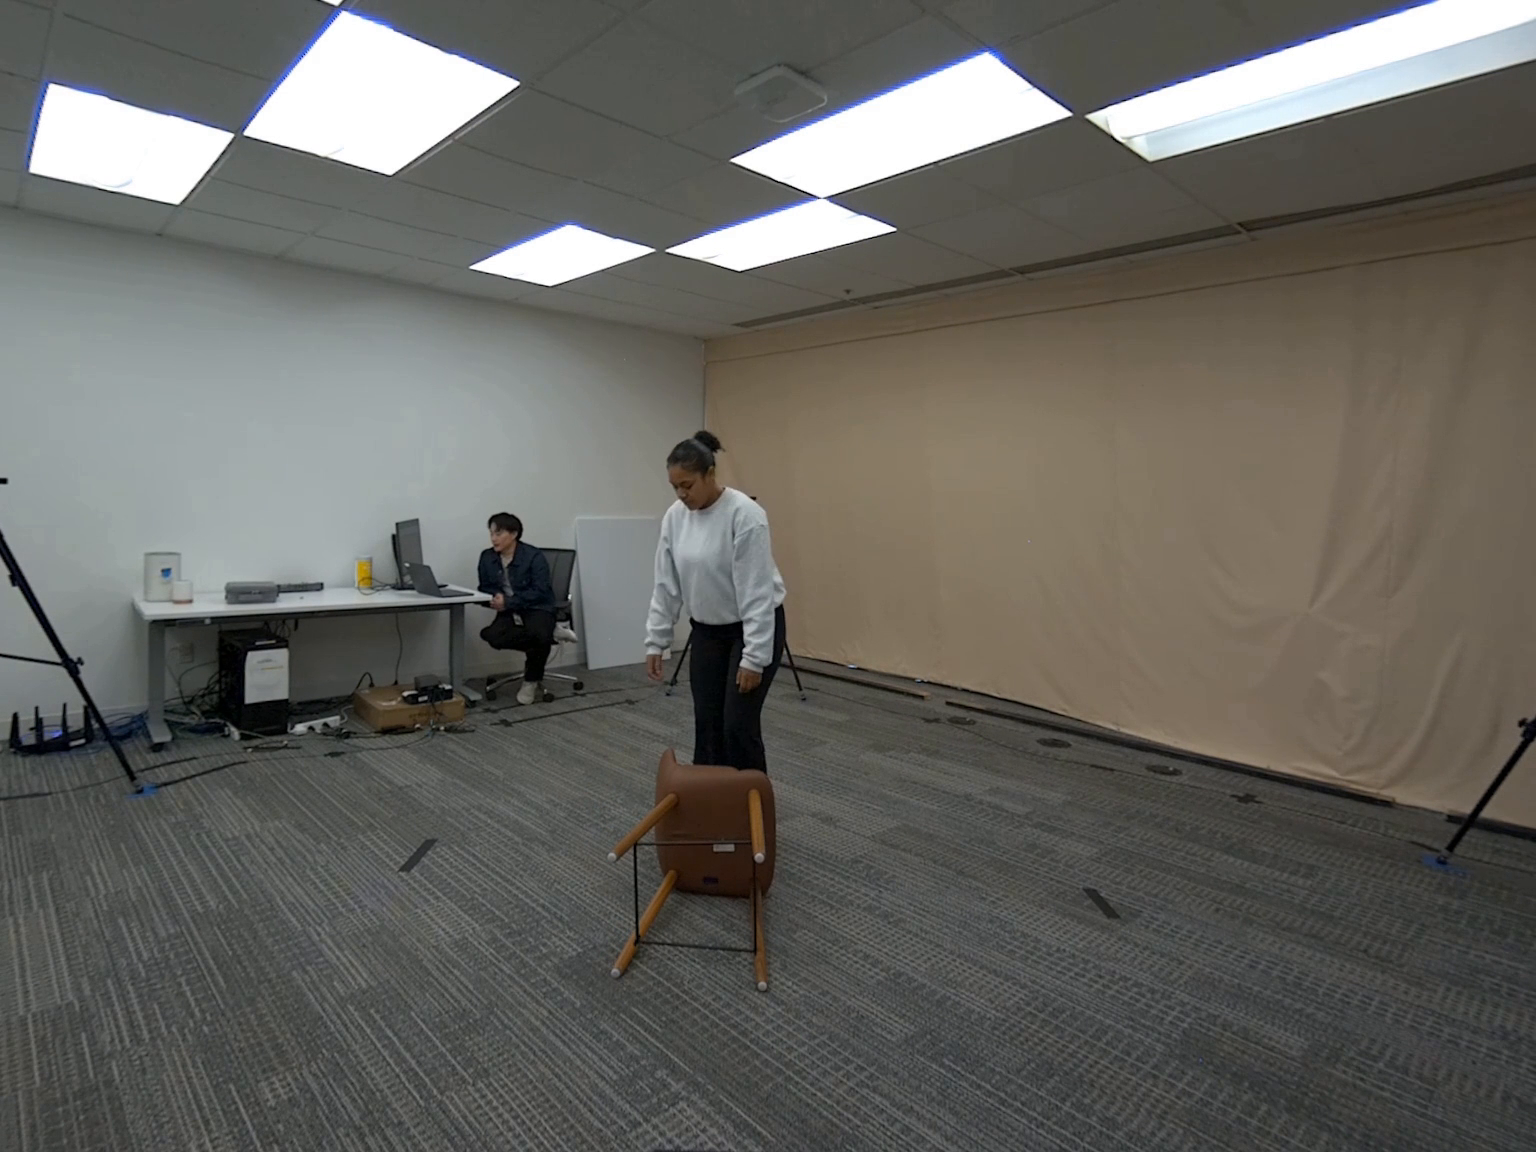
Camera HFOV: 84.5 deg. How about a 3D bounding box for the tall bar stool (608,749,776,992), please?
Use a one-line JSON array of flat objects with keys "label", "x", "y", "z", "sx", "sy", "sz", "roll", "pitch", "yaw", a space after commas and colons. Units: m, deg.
[{"label": "tall bar stool", "x": -0.213, "y": 0.920, "z": 2.808, "sx": 0.468, "sy": 0.454, "sz": 0.891, "roll": -1, "pitch": 6, "yaw": 2}]
